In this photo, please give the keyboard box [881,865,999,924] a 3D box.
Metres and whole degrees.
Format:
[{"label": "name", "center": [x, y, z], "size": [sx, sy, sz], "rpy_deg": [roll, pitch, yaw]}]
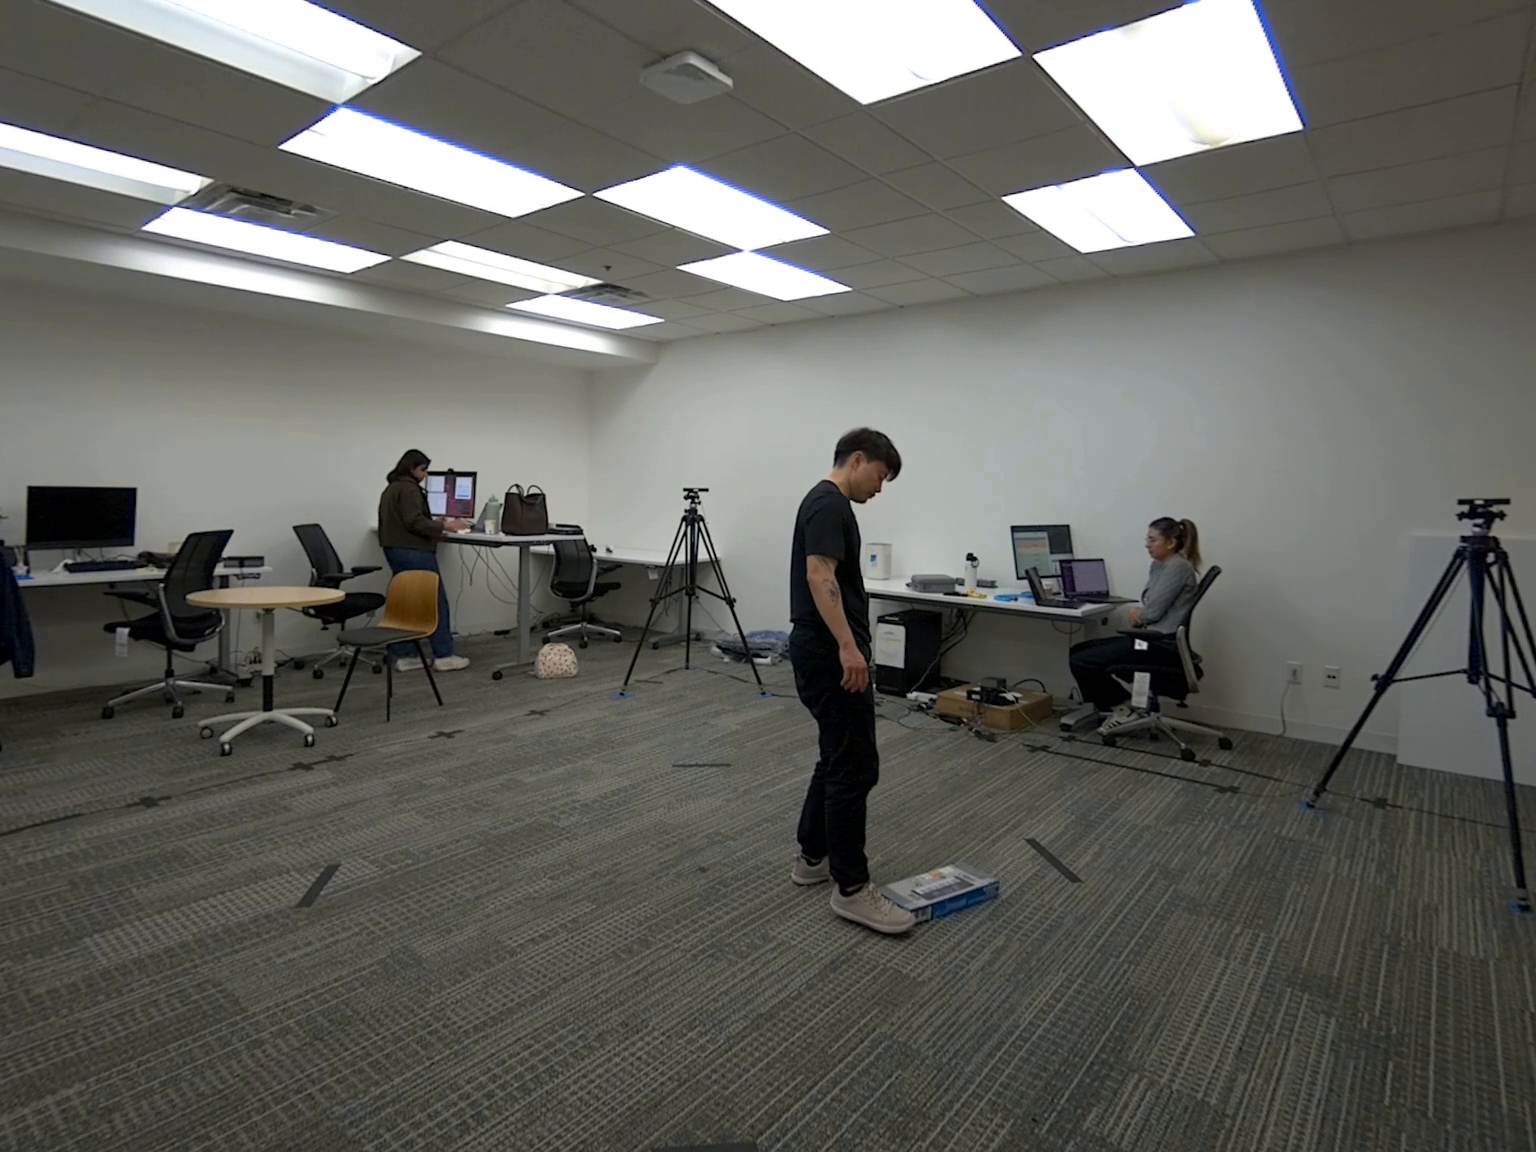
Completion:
[{"label": "keyboard box", "center": [0.569, 1.079, 2.911], "size": [0.425, 0.059, 0.181], "rpy_deg": [-3, 6, -33]}]
